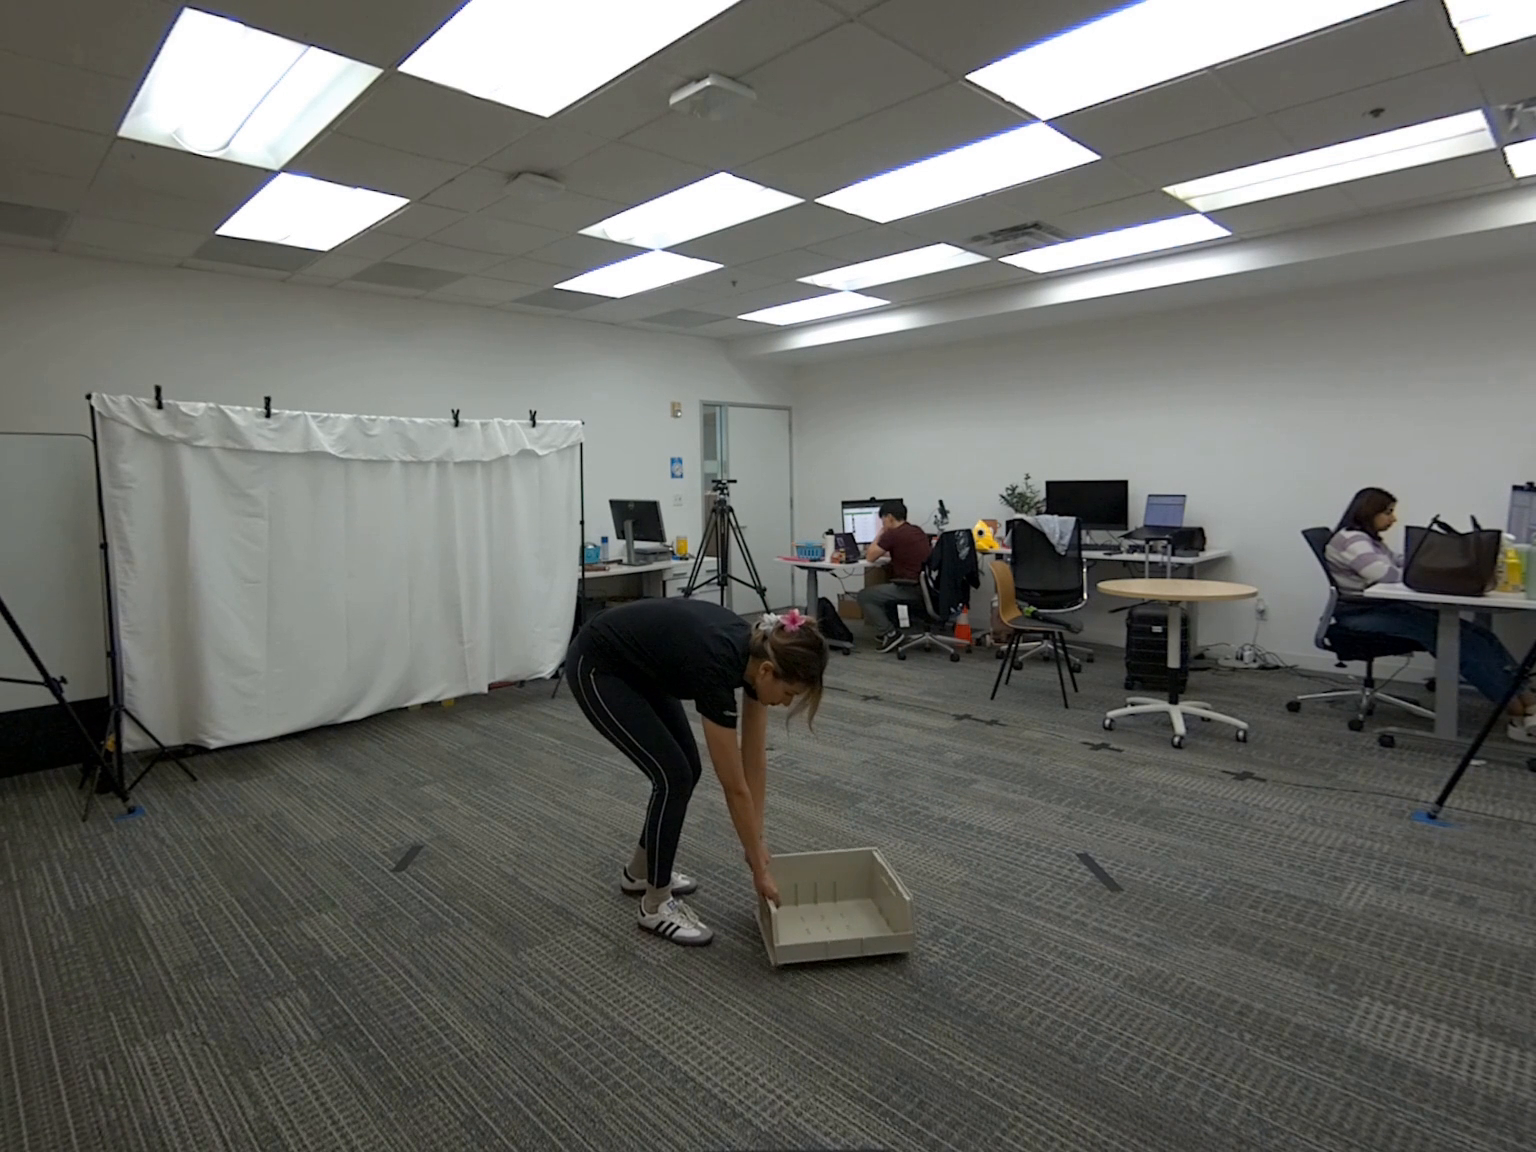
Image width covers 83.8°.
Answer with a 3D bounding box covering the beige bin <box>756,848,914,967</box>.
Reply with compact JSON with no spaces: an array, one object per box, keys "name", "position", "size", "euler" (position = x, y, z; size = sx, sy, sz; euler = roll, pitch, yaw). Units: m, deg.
[{"name":"beige bin","position":[0.187,1.010,2.606],"size":[0.419,0.188,0.382],"euler":[-2,5,-9]}]
